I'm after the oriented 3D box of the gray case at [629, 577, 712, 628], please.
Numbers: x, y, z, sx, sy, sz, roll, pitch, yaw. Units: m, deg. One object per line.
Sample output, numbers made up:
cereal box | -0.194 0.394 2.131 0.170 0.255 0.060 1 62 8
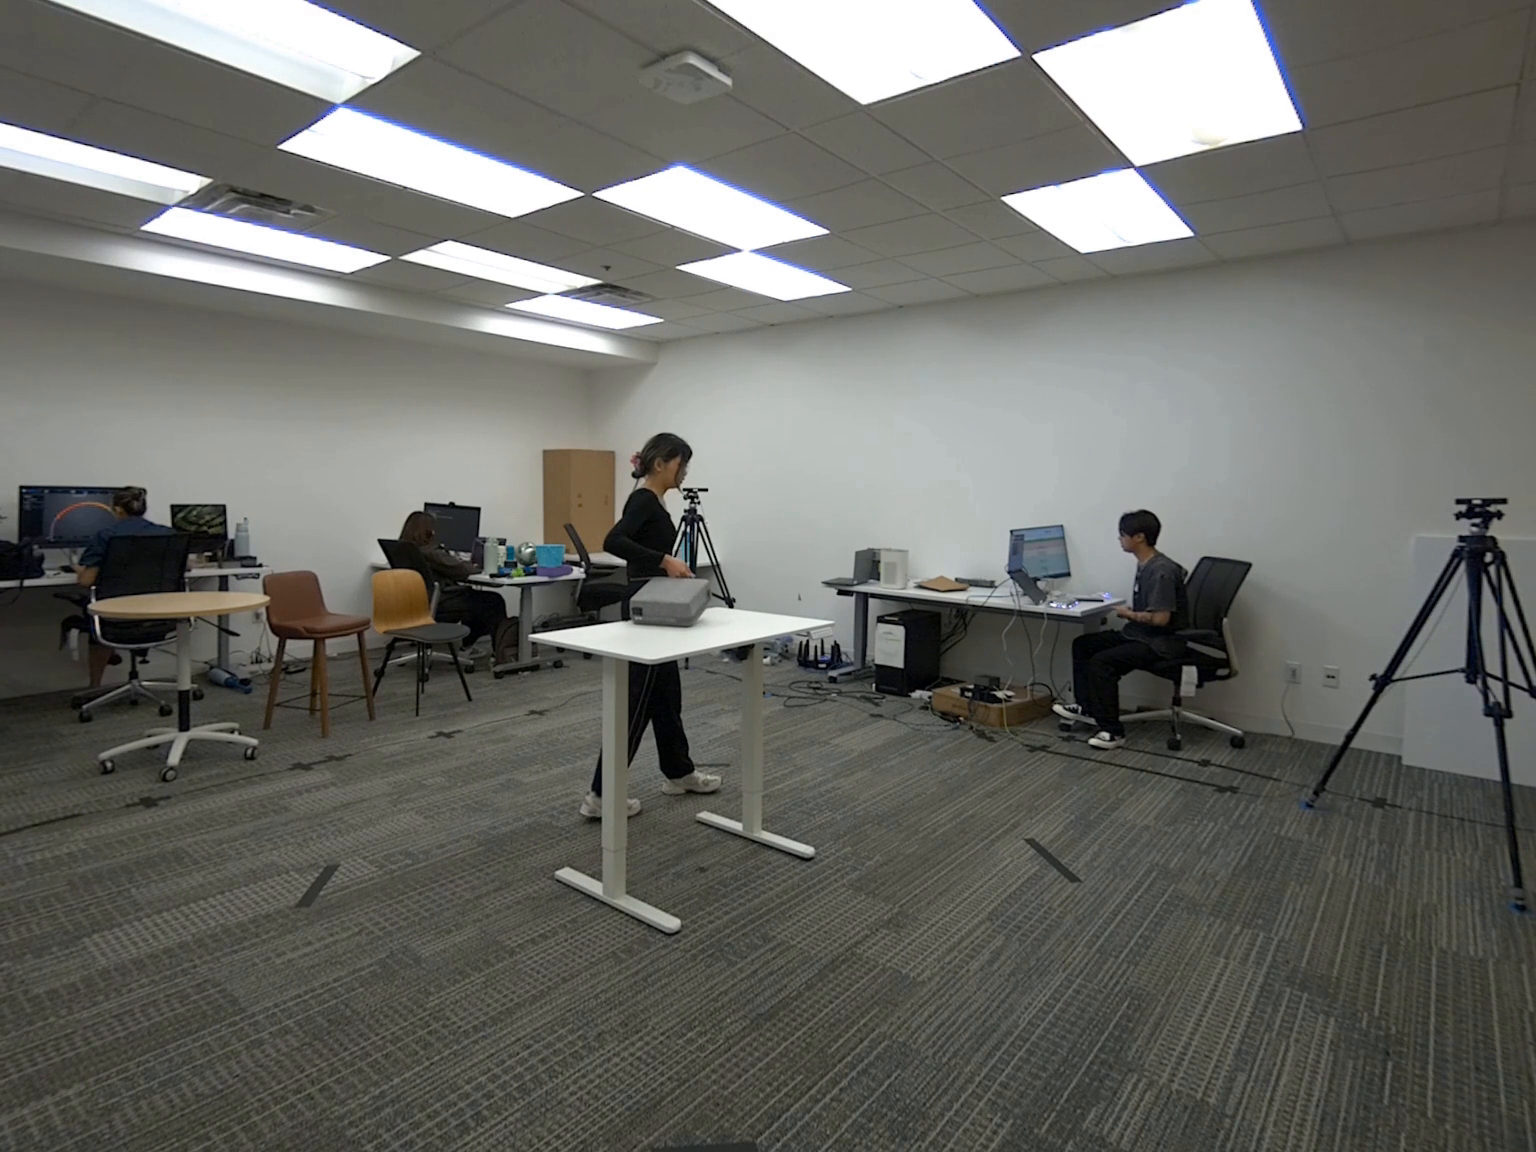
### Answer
gray case | -0.375 0.090 3.229 0.262 0.103 0.259 1 18 18
